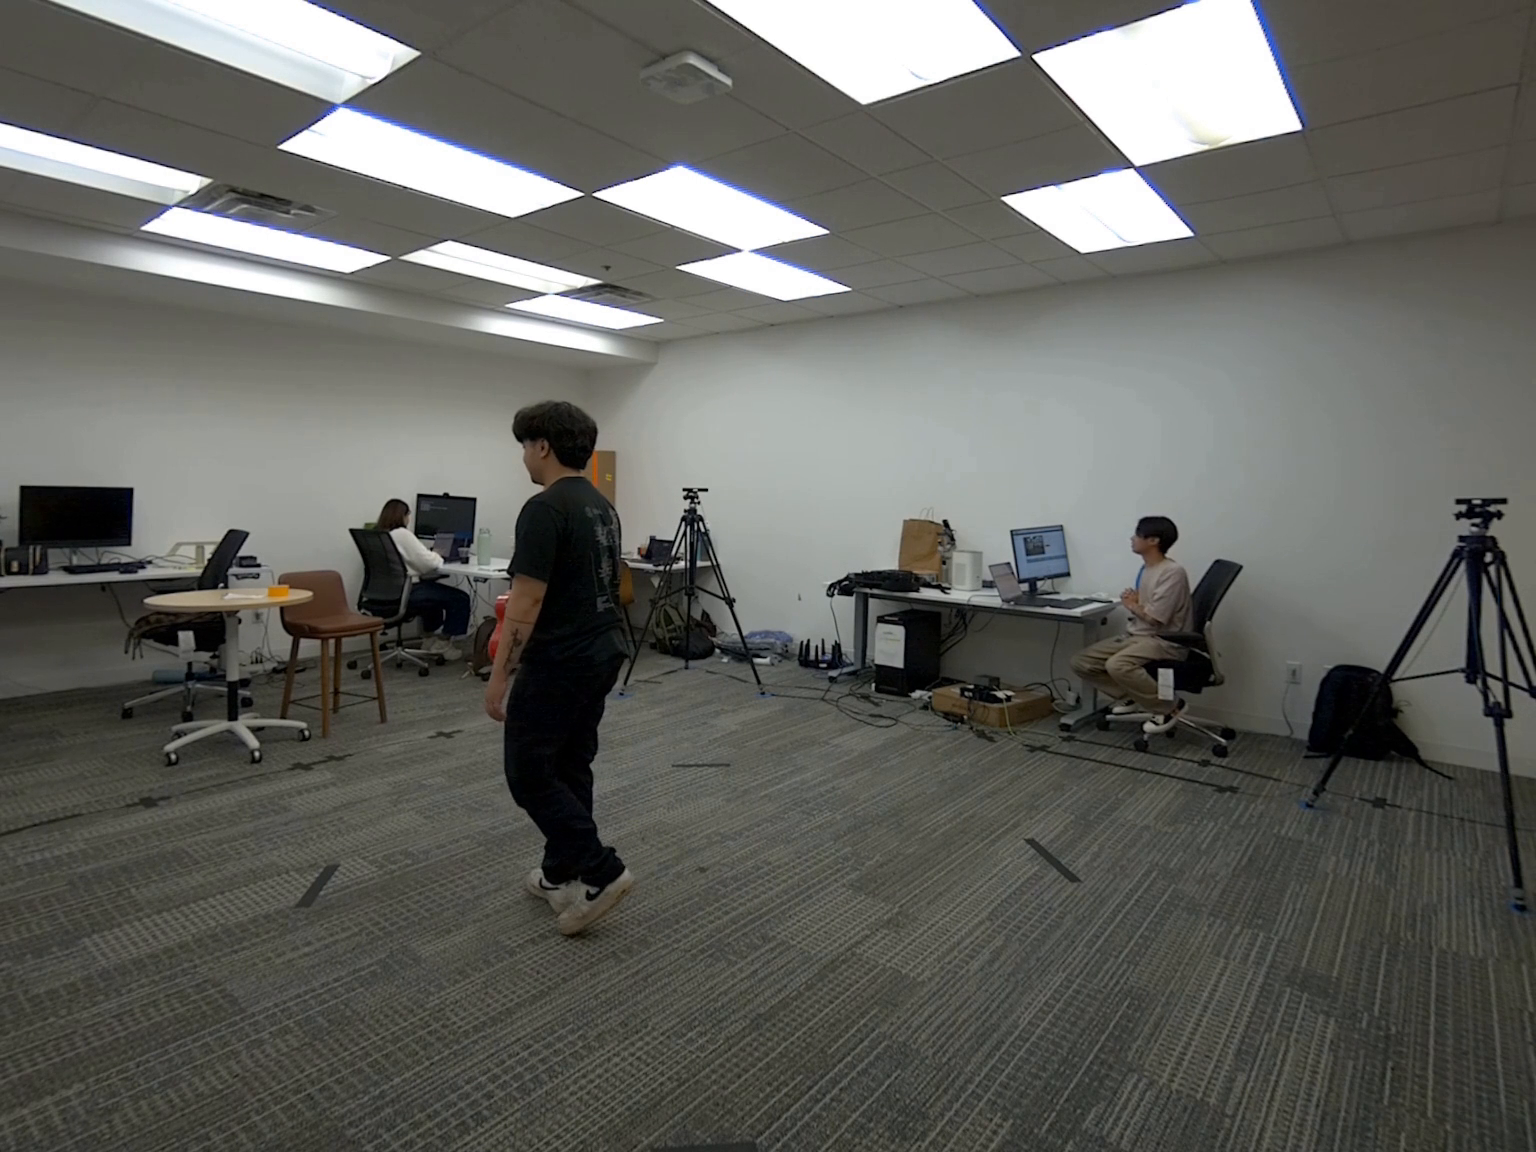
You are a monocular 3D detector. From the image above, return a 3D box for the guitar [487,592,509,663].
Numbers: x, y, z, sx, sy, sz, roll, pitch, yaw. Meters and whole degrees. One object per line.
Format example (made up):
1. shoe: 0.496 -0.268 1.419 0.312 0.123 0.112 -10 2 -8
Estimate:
1. guitar: -0.928 0.082 3.201 0.073 0.503 0.186 -4 -14 35
